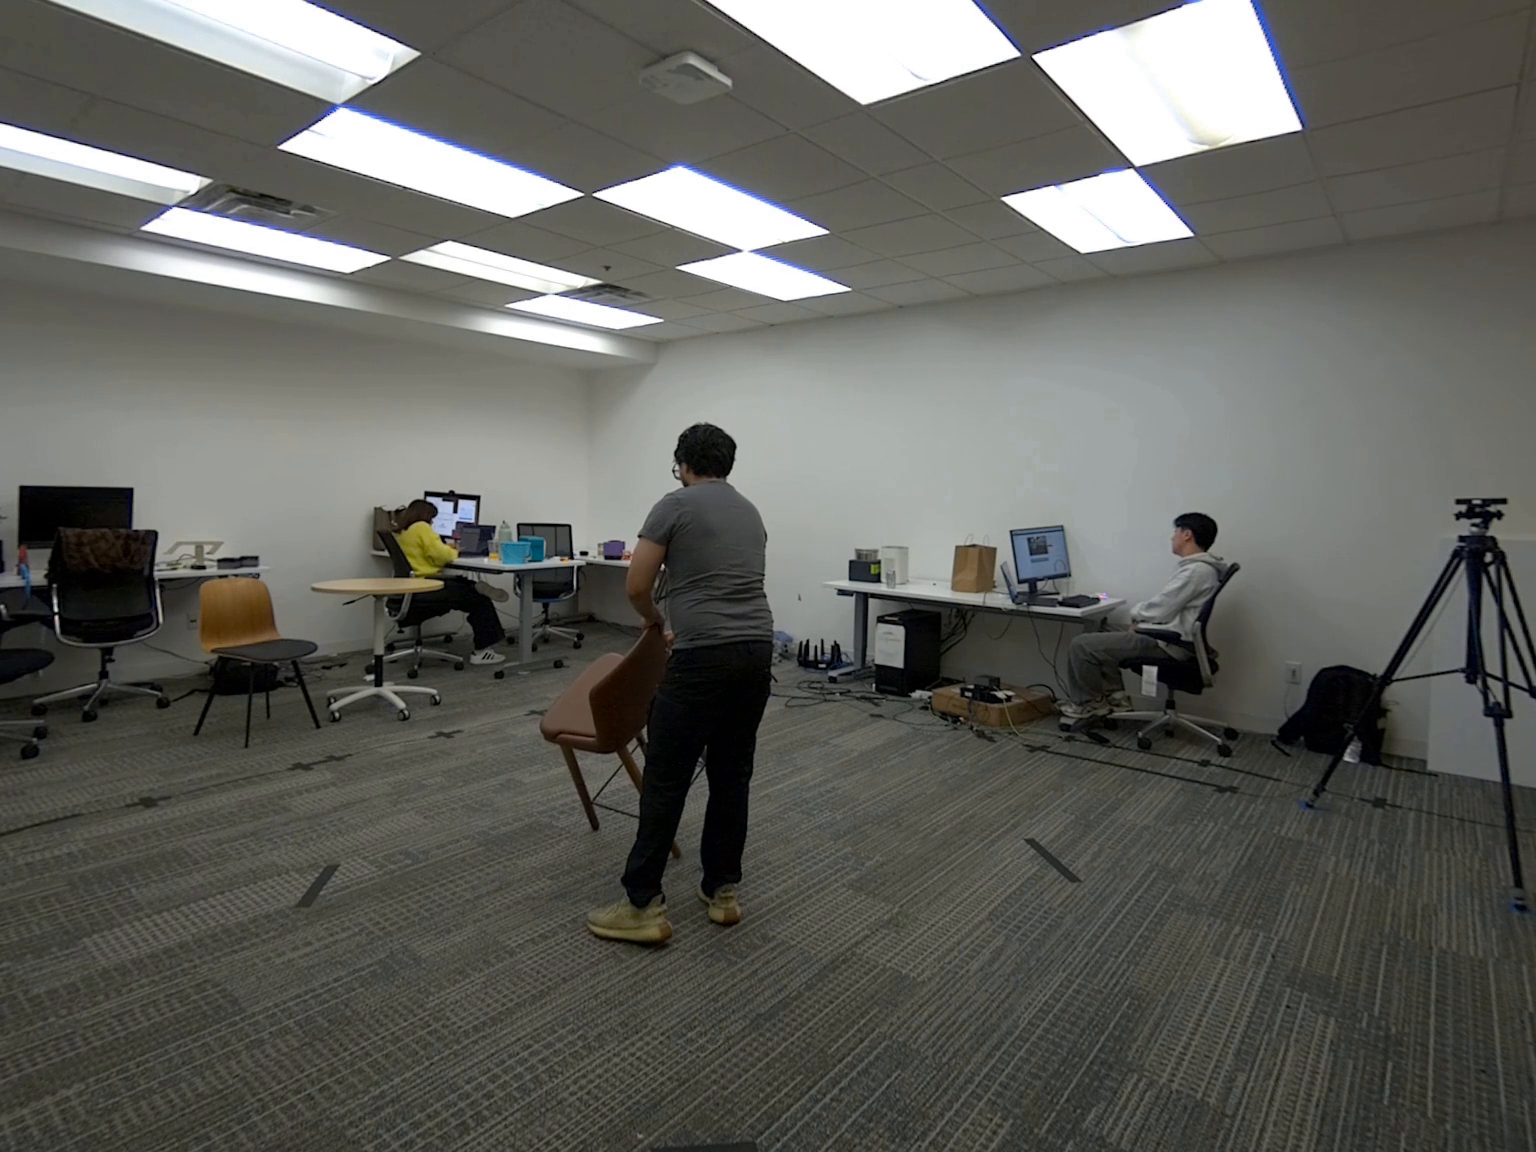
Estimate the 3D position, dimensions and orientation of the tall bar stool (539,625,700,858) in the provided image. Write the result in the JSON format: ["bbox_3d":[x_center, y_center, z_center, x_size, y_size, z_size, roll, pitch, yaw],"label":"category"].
[{"bbox_3d":[-0.558,0.585,3.245,0.483,0.861,0.456,8,39,34],"label":"tall bar stool"}]
